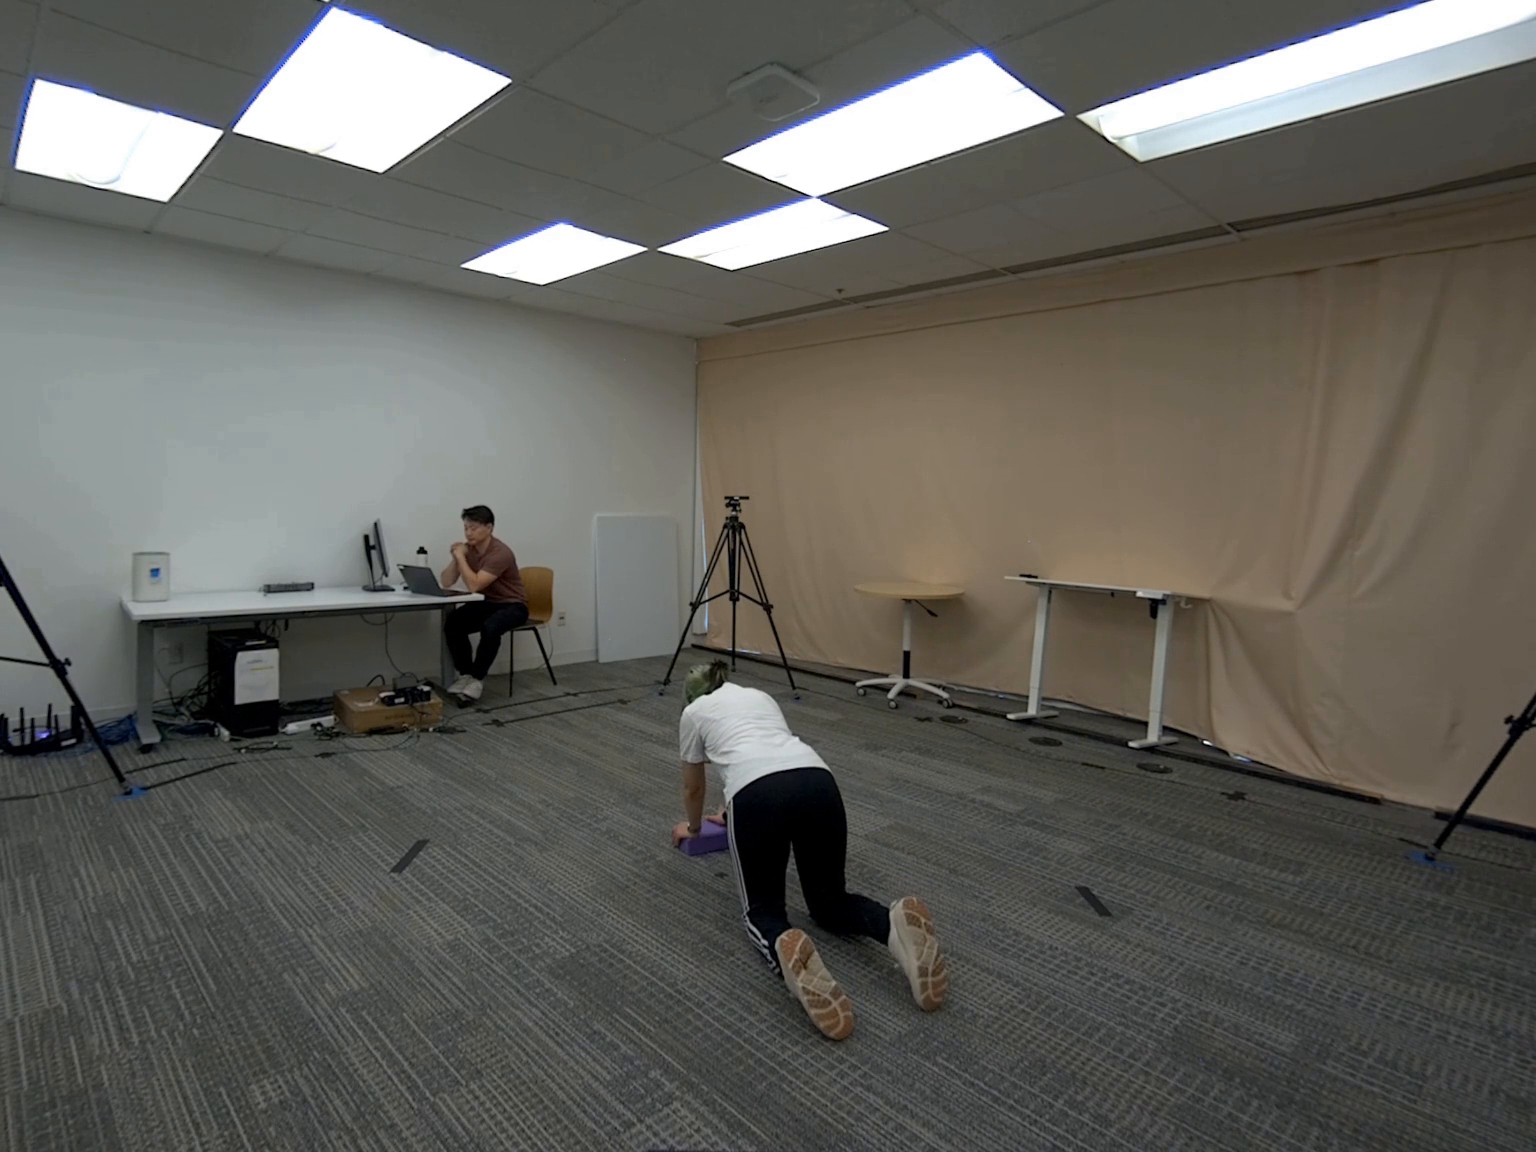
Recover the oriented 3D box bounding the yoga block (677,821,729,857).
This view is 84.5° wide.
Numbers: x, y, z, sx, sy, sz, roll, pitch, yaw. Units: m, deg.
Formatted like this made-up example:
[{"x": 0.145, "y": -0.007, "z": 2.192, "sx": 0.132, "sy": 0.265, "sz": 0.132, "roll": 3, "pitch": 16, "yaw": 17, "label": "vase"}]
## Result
[{"x": -0.255, "y": 1.041, "z": 3.364, "sx": 0.225, "sy": 0.076, "sz": 0.152, "roll": -4, "pitch": 4, "yaw": -32, "label": "yoga block"}]
